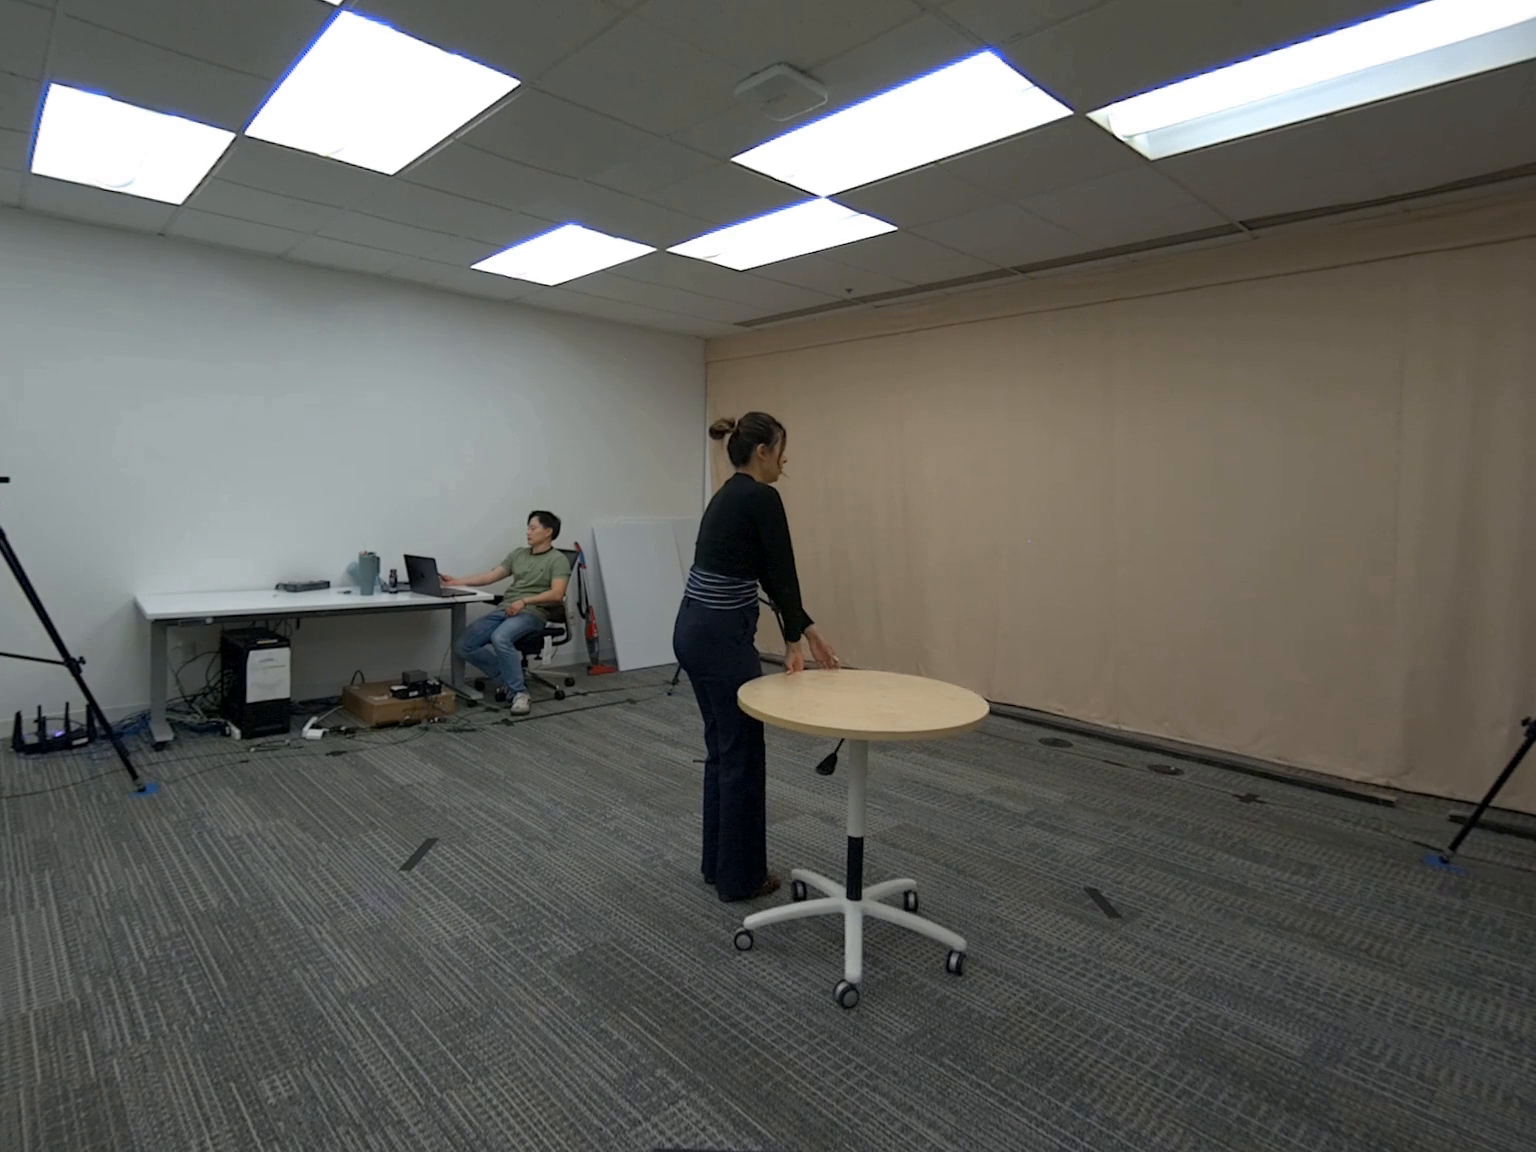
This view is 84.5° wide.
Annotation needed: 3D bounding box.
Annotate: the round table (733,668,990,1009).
[{"bbox_3d":[0.273,0.767,2.629,0.763,0.791,0.767,2,5,-2],"label":"round table"}]
